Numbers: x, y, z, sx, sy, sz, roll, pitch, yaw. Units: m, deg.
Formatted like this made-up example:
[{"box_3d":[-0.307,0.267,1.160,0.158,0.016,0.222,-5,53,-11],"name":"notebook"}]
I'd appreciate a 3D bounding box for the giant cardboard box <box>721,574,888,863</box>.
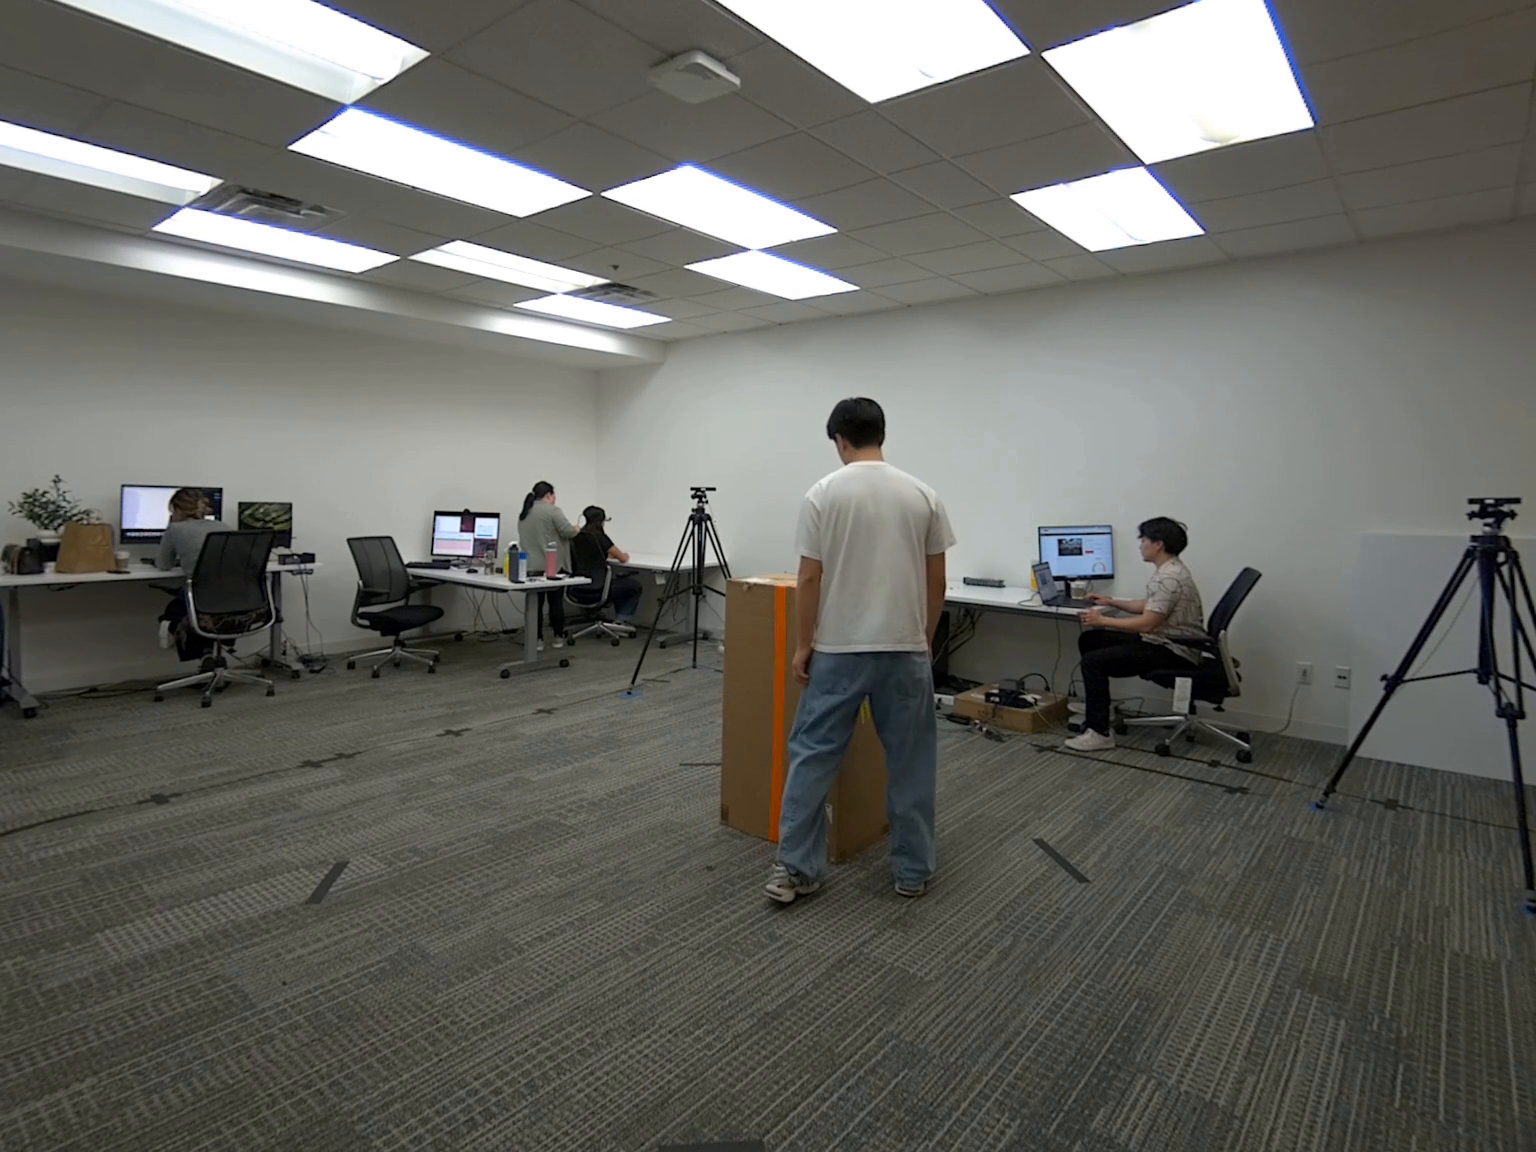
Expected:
[{"box_3d":[0.150,0.531,3.483,0.597,1.022,0.413,4,5,38],"name":"giant cardboard box"}]
